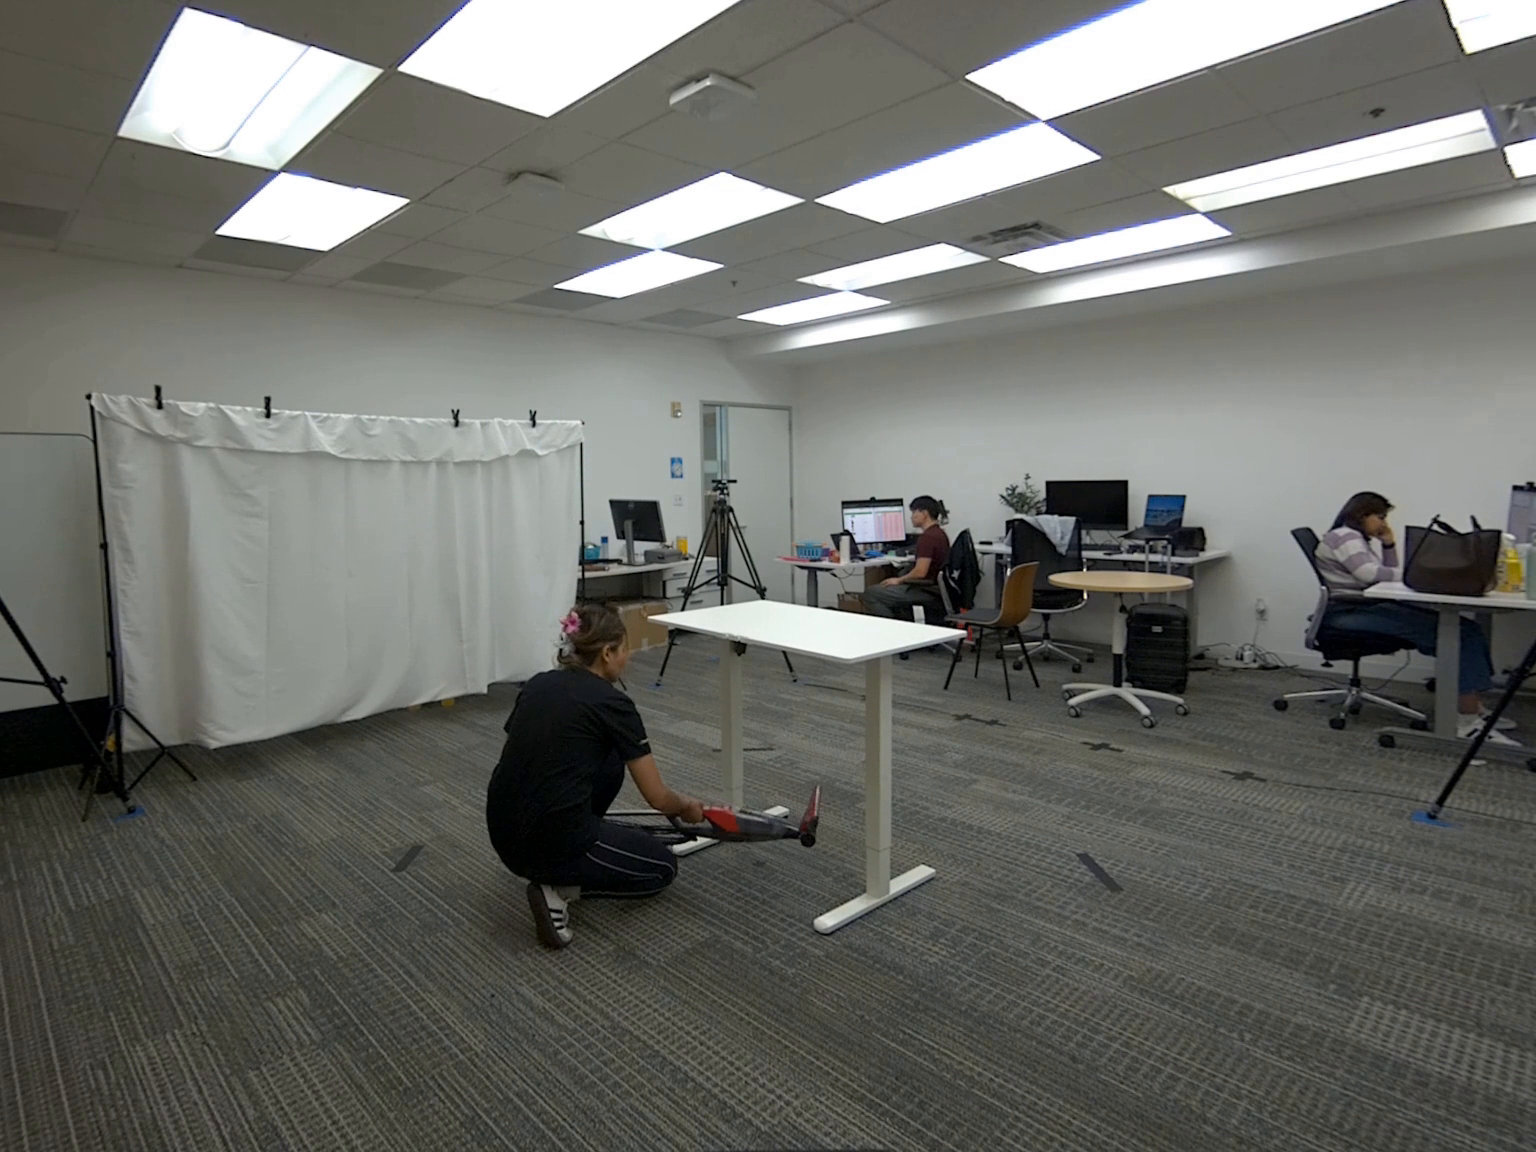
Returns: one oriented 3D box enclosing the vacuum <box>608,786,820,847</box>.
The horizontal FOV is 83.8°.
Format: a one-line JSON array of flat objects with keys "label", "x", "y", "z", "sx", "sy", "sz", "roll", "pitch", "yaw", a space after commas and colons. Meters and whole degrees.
[{"label": "vacuum", "x": -0.338, "y": 0.884, "z": 3.043, "sx": 1.059, "sy": 0.142, "sz": 0.253, "roll": -6, "pitch": 12, "yaw": 10}]
